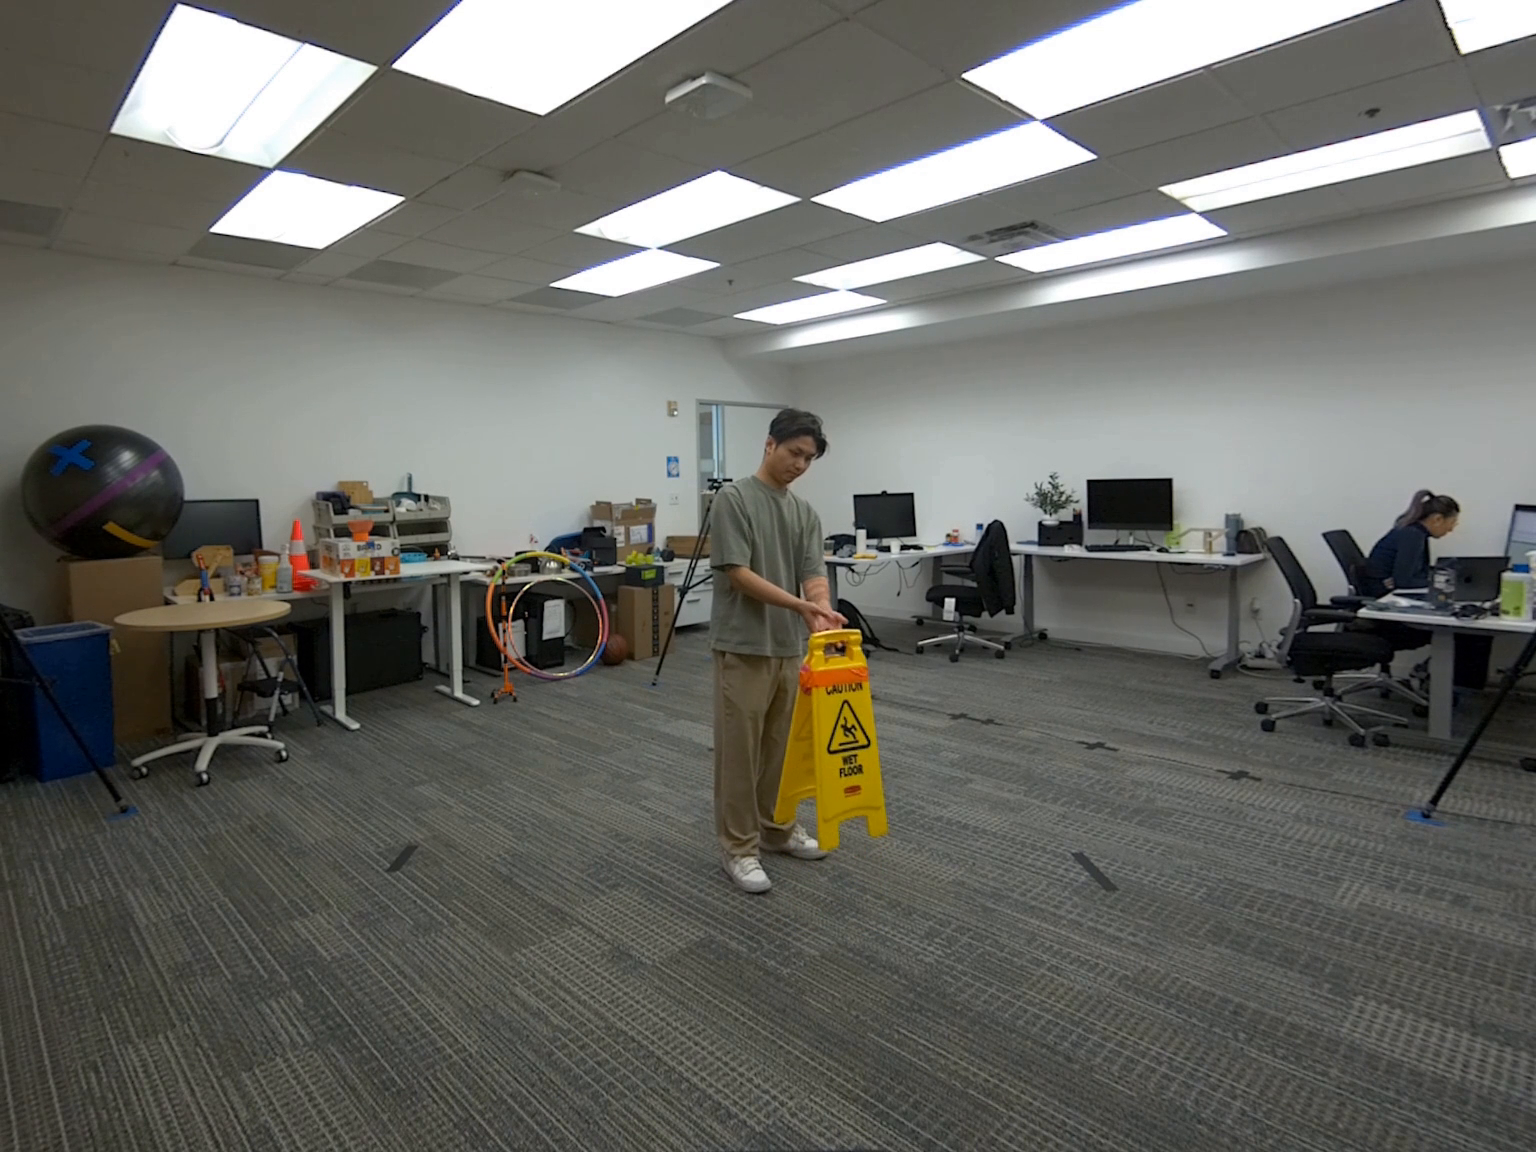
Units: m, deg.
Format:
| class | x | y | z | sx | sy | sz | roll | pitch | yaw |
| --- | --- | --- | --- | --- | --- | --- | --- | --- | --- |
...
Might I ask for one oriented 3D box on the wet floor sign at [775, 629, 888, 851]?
| class | x | y | z | sx | sy | sz | roll | pitch | yaw |
| --- | --- | --- | --- | --- | --- | --- | --- | --- | --- |
| wet floor sign | 0.215 | 0.506 | 2.769 | 0.275 | 0.643 | 0.298 | -2 | 6 | -34 |
